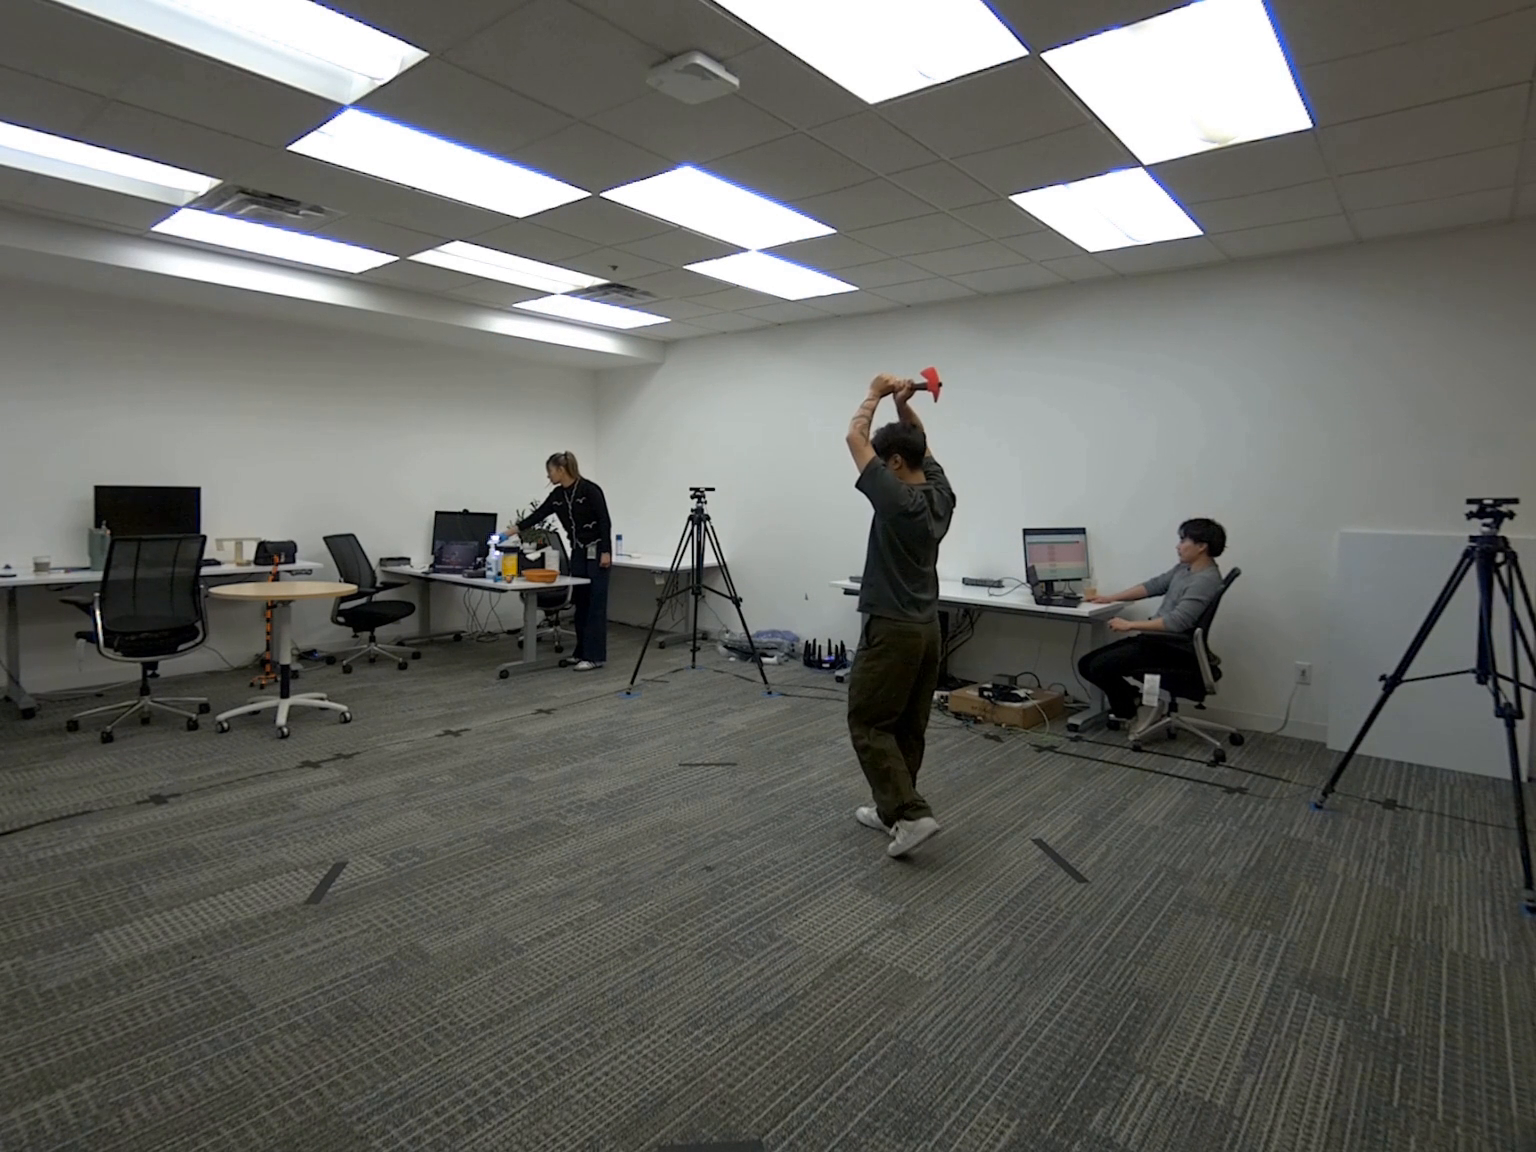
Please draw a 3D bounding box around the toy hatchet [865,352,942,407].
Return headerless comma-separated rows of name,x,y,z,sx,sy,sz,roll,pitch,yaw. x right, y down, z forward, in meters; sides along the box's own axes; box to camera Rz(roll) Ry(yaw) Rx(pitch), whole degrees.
toy hatchet,0.523,-0.768,3.270,0.278,0.129,0.029,24,27,25
